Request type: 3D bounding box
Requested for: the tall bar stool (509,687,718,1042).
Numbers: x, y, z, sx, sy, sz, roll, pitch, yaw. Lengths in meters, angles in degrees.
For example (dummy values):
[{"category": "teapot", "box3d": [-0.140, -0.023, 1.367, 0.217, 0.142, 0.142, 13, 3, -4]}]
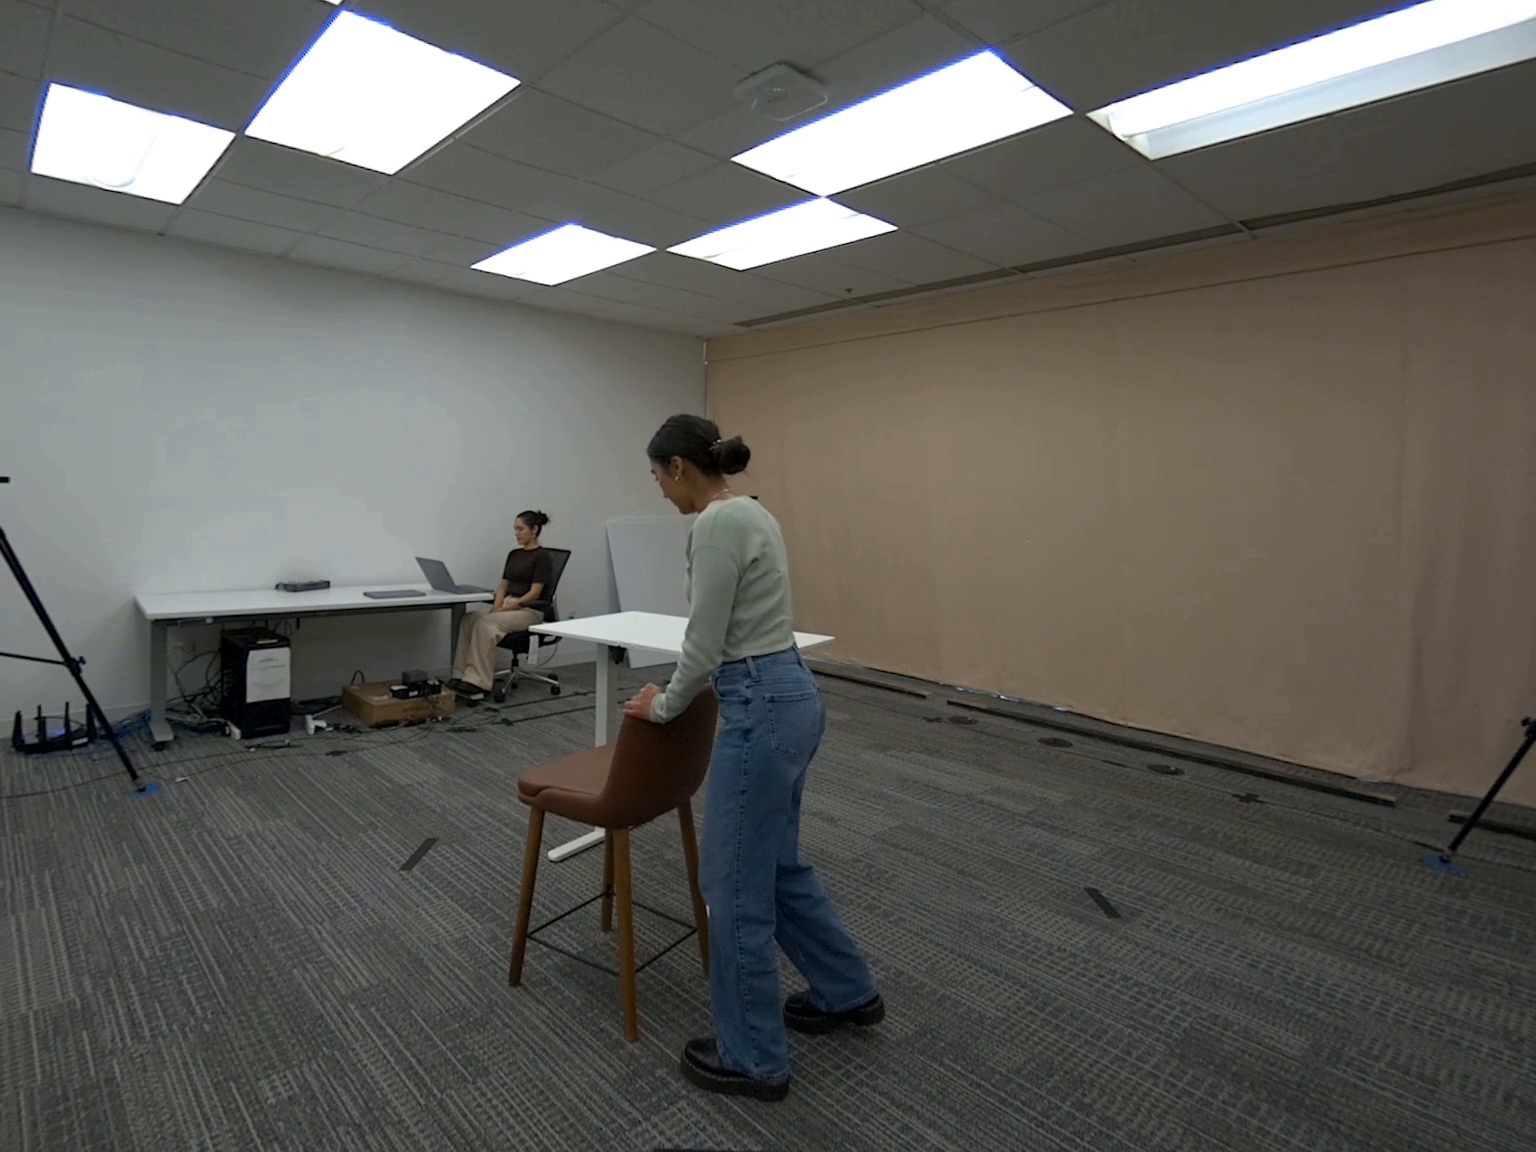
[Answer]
[{"category": "tall bar stool", "box3d": [-0.420, 0.726, 2.382, 0.479, 0.887, 0.447, 6, 6, 33]}]
